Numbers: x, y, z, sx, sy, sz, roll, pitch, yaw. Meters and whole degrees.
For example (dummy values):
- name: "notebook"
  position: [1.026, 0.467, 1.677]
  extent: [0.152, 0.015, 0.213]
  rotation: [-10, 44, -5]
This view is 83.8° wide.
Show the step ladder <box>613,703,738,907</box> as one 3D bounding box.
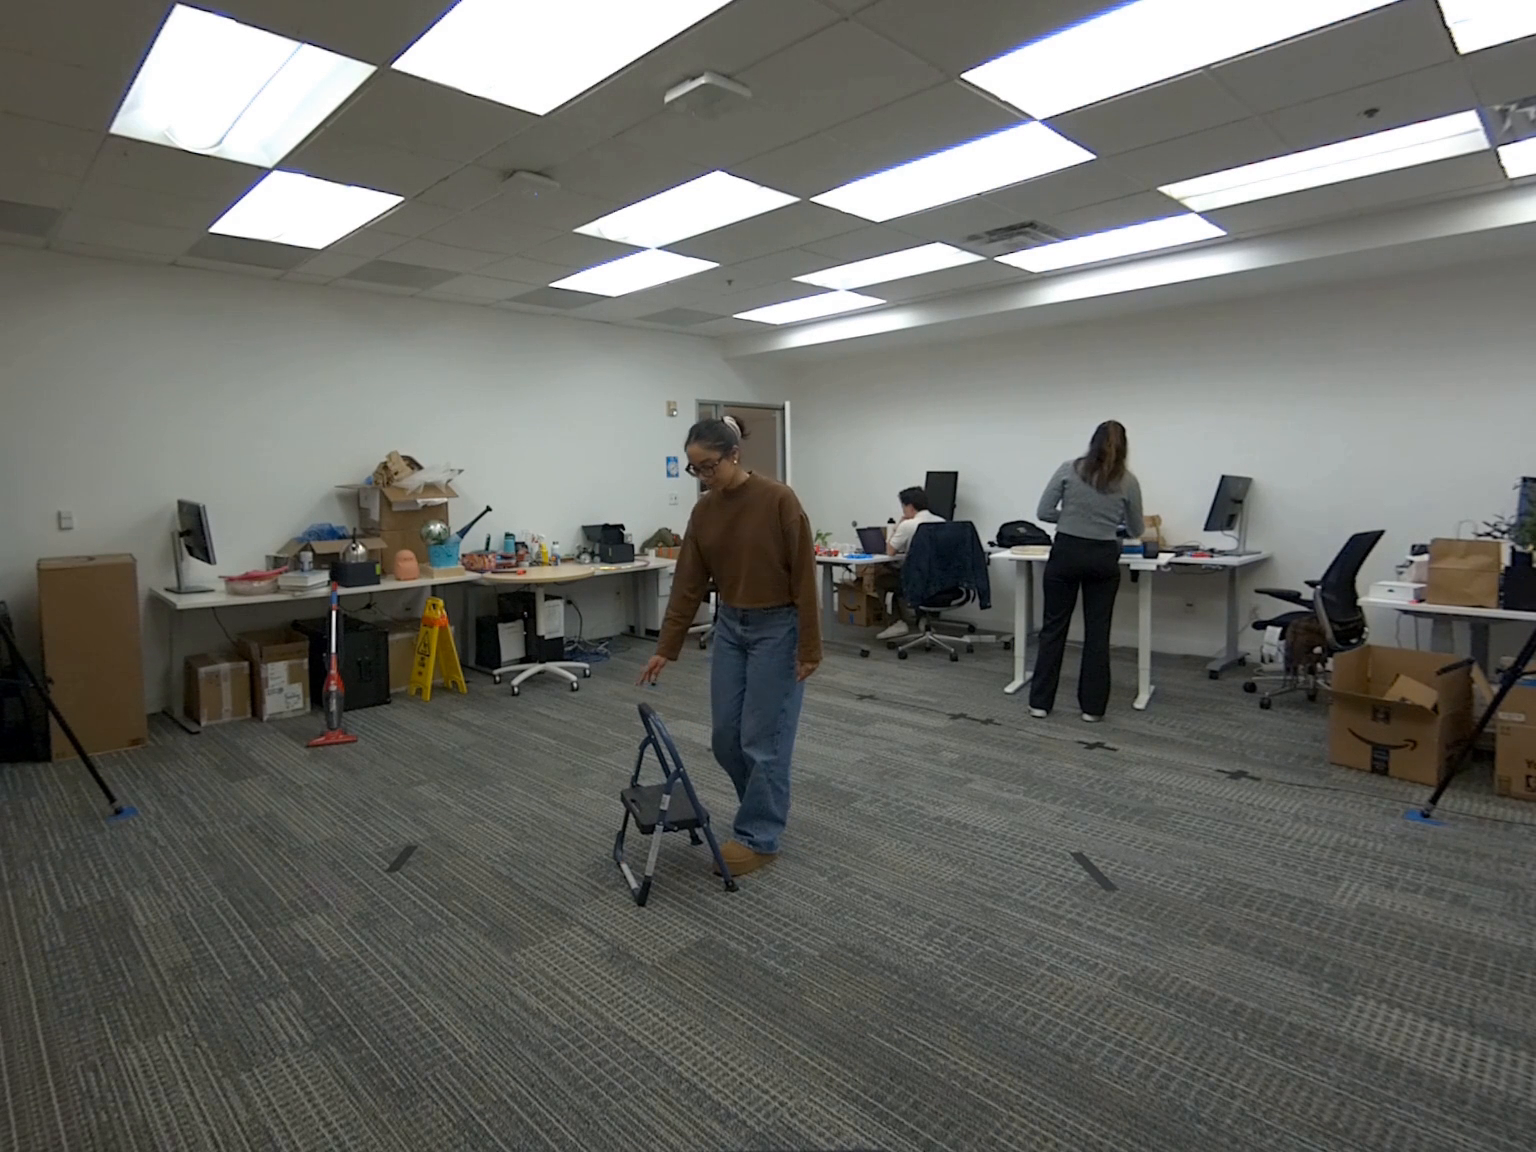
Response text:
- name: "step ladder"
  position: [-0.338, 0.756, 3.029]
  extent: [0.343, 0.604, 0.440]
  rotation: [-2, 5, -22]
